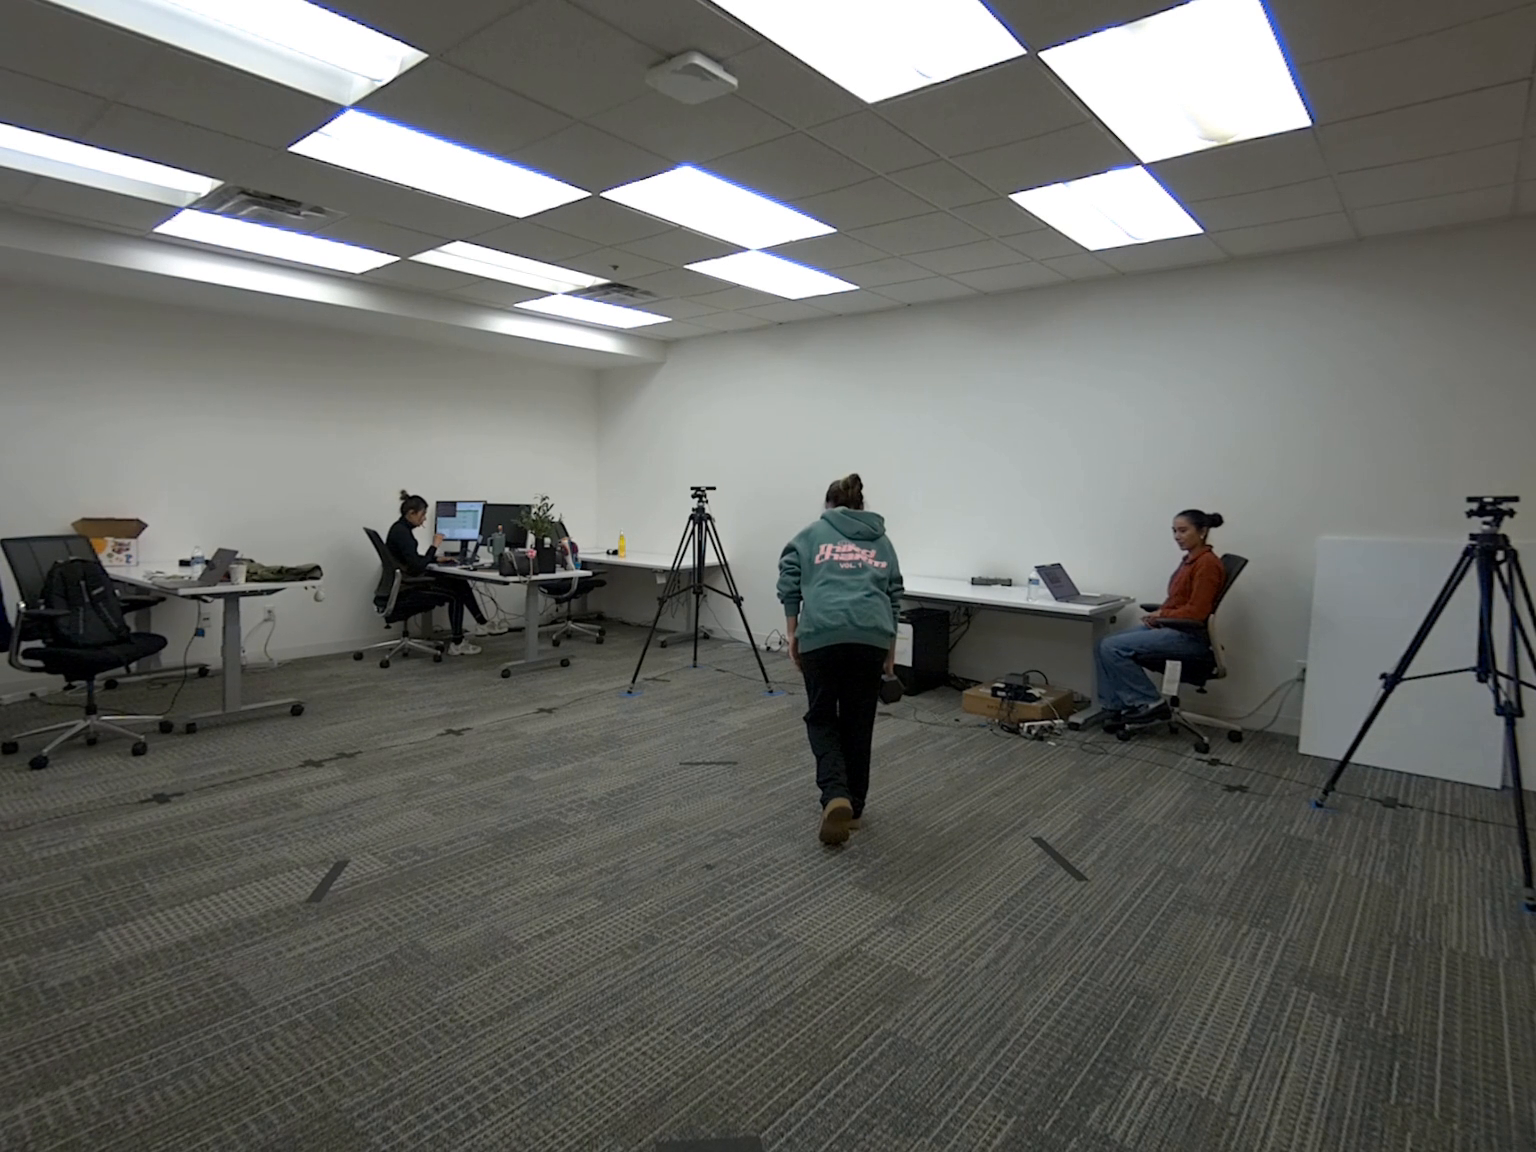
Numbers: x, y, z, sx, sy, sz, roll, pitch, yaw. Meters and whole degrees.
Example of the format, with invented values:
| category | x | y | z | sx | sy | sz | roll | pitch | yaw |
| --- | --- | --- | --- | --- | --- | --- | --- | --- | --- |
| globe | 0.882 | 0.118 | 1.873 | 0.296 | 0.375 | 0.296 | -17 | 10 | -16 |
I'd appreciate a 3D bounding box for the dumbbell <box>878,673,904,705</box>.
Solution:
| category | x | y | z | sx | sy | sz | roll | pitch | yaw |
| --- | --- | --- | --- | --- | --- | --- | --- | --- | --- |
| dumbbell | 0.473 | 0.456 | 3.635 | 0.107 | 0.123 | 0.298 | 23 | 1 | -13 |
